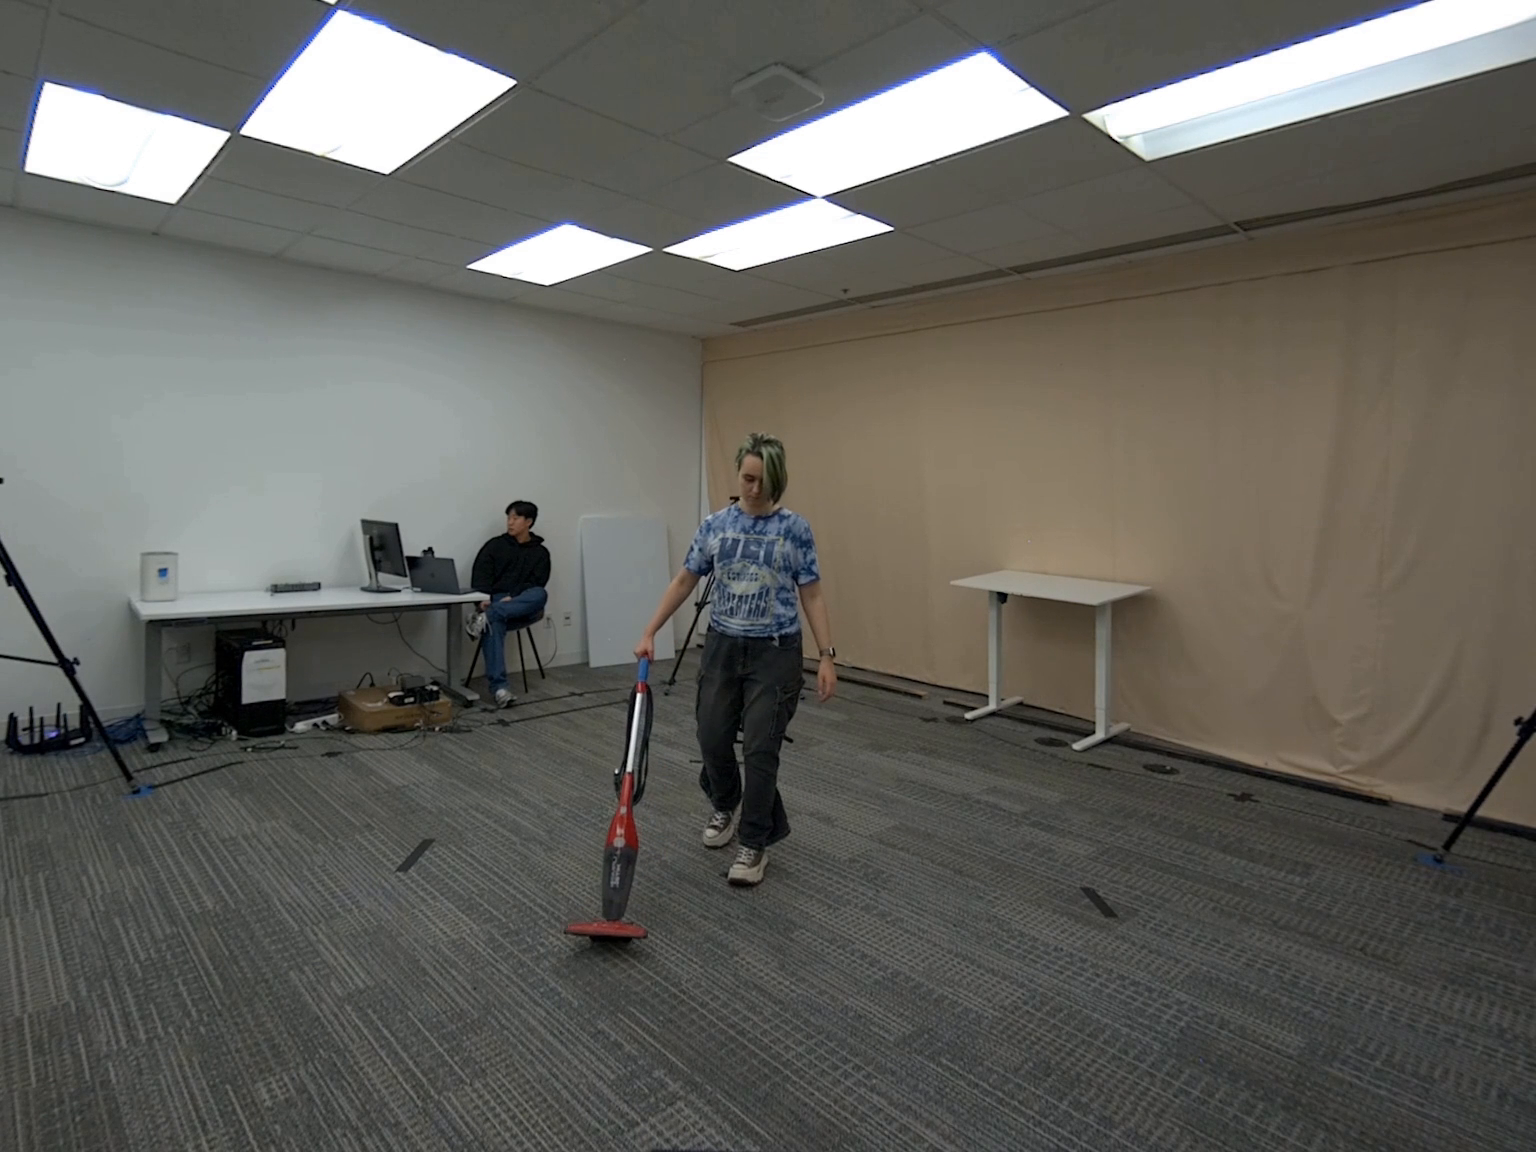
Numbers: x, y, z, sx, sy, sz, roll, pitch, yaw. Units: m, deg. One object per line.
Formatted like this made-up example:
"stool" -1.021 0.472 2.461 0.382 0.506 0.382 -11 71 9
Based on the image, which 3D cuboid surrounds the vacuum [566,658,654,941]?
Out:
"vacuum" -0.479 0.701 2.902 0.253 1.070 0.140 0 -39 4
